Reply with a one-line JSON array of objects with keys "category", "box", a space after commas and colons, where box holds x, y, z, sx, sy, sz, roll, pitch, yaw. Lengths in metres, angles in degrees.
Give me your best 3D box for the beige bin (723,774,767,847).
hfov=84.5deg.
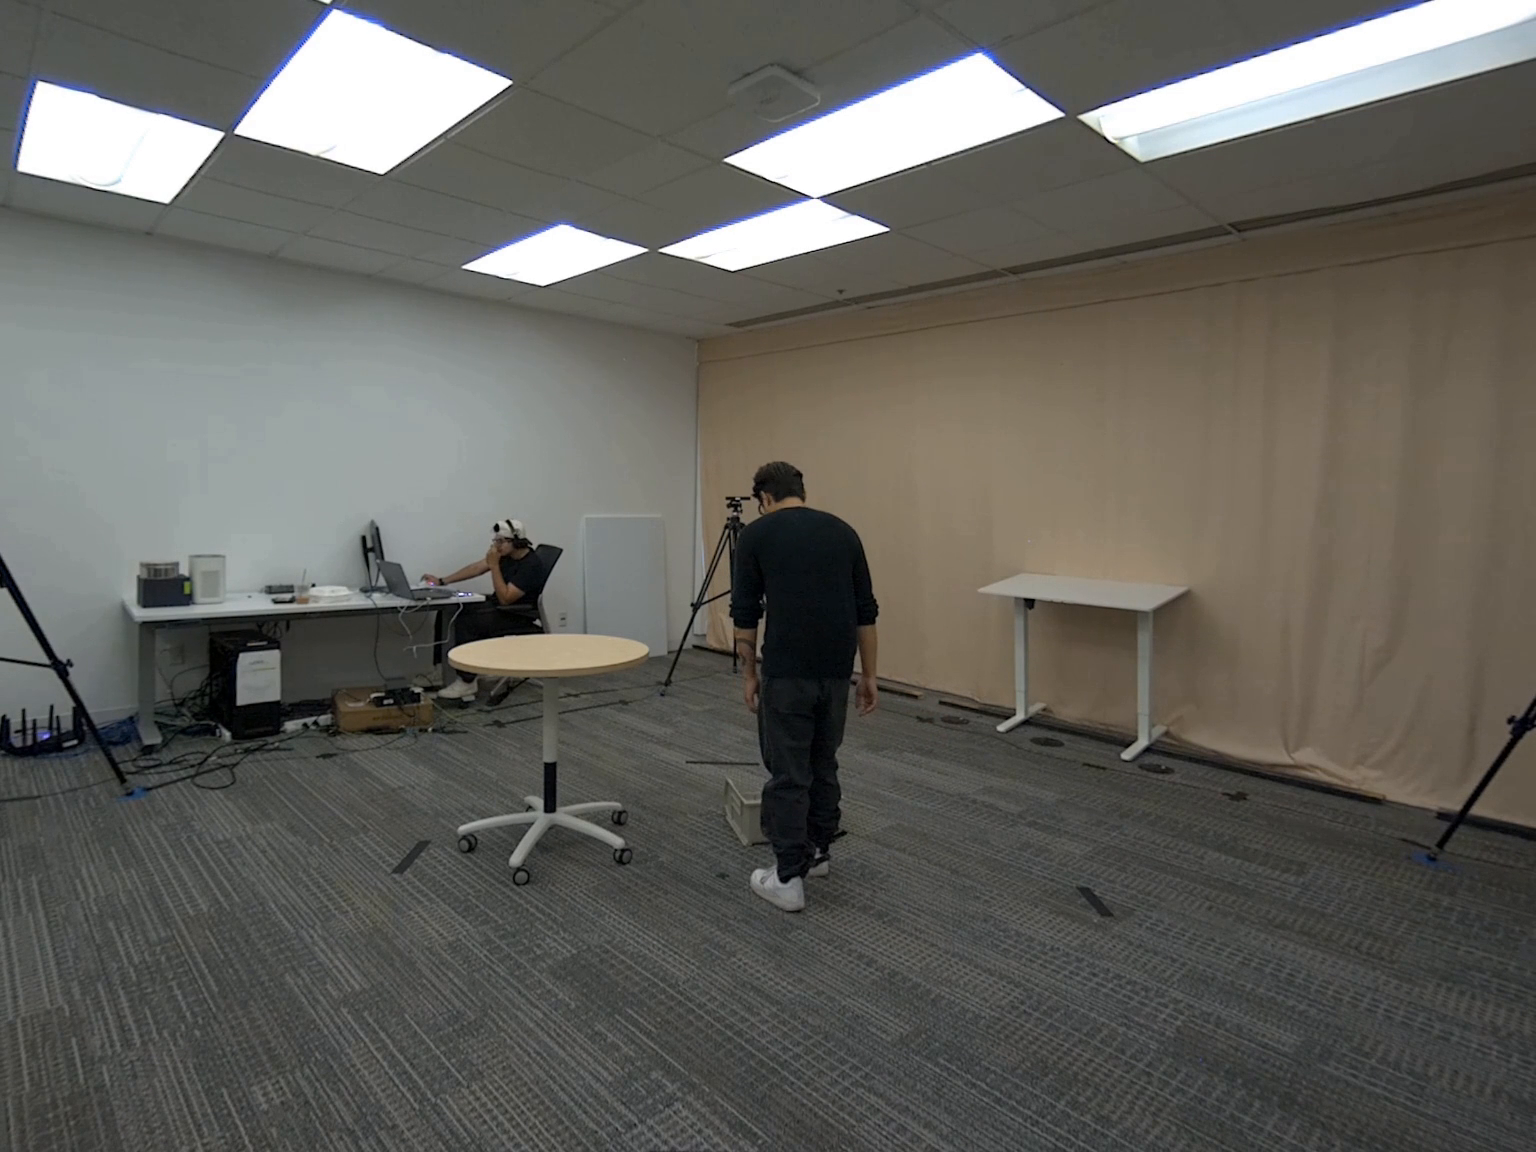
[{"category": "beige bin", "box": [0.048, 0.979, 3.593, 0.417, 0.188, 0.383, 1, 5, -15]}]
